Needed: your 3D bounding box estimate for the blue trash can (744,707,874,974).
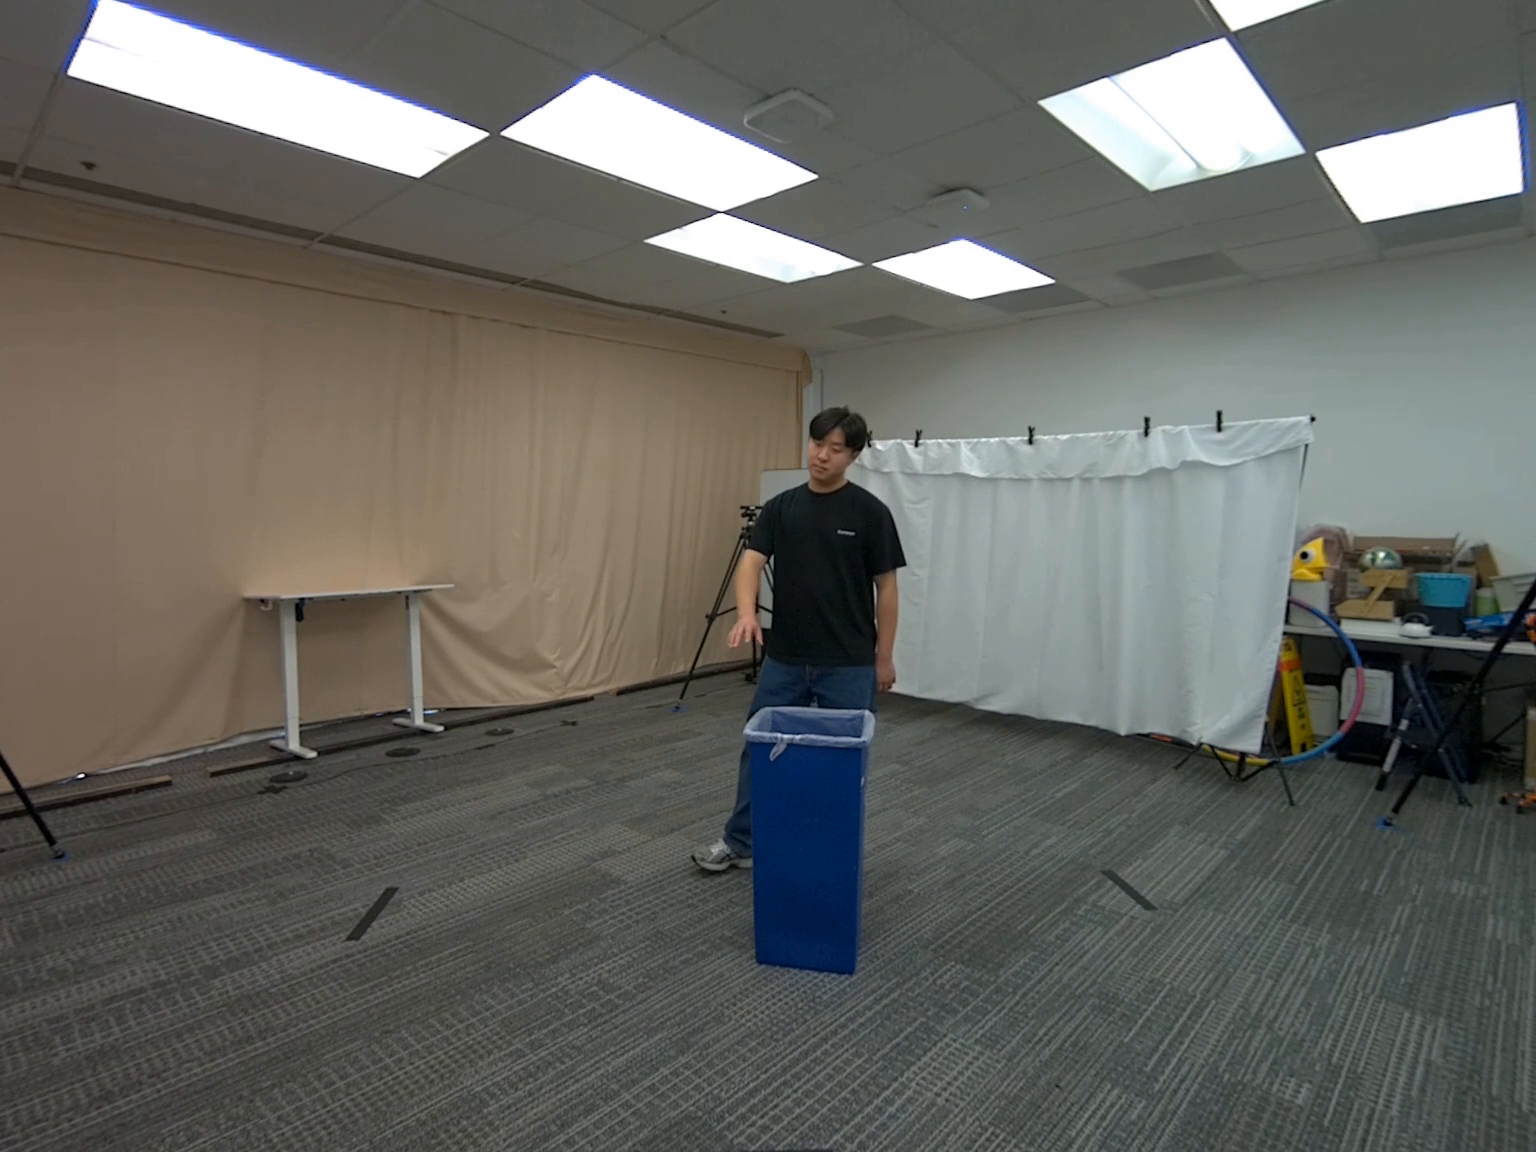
[{"bbox_3d":[0.140,0.809,2.653,0.383,0.713,0.369,1,2,11],"label":"blue trash can"}]
